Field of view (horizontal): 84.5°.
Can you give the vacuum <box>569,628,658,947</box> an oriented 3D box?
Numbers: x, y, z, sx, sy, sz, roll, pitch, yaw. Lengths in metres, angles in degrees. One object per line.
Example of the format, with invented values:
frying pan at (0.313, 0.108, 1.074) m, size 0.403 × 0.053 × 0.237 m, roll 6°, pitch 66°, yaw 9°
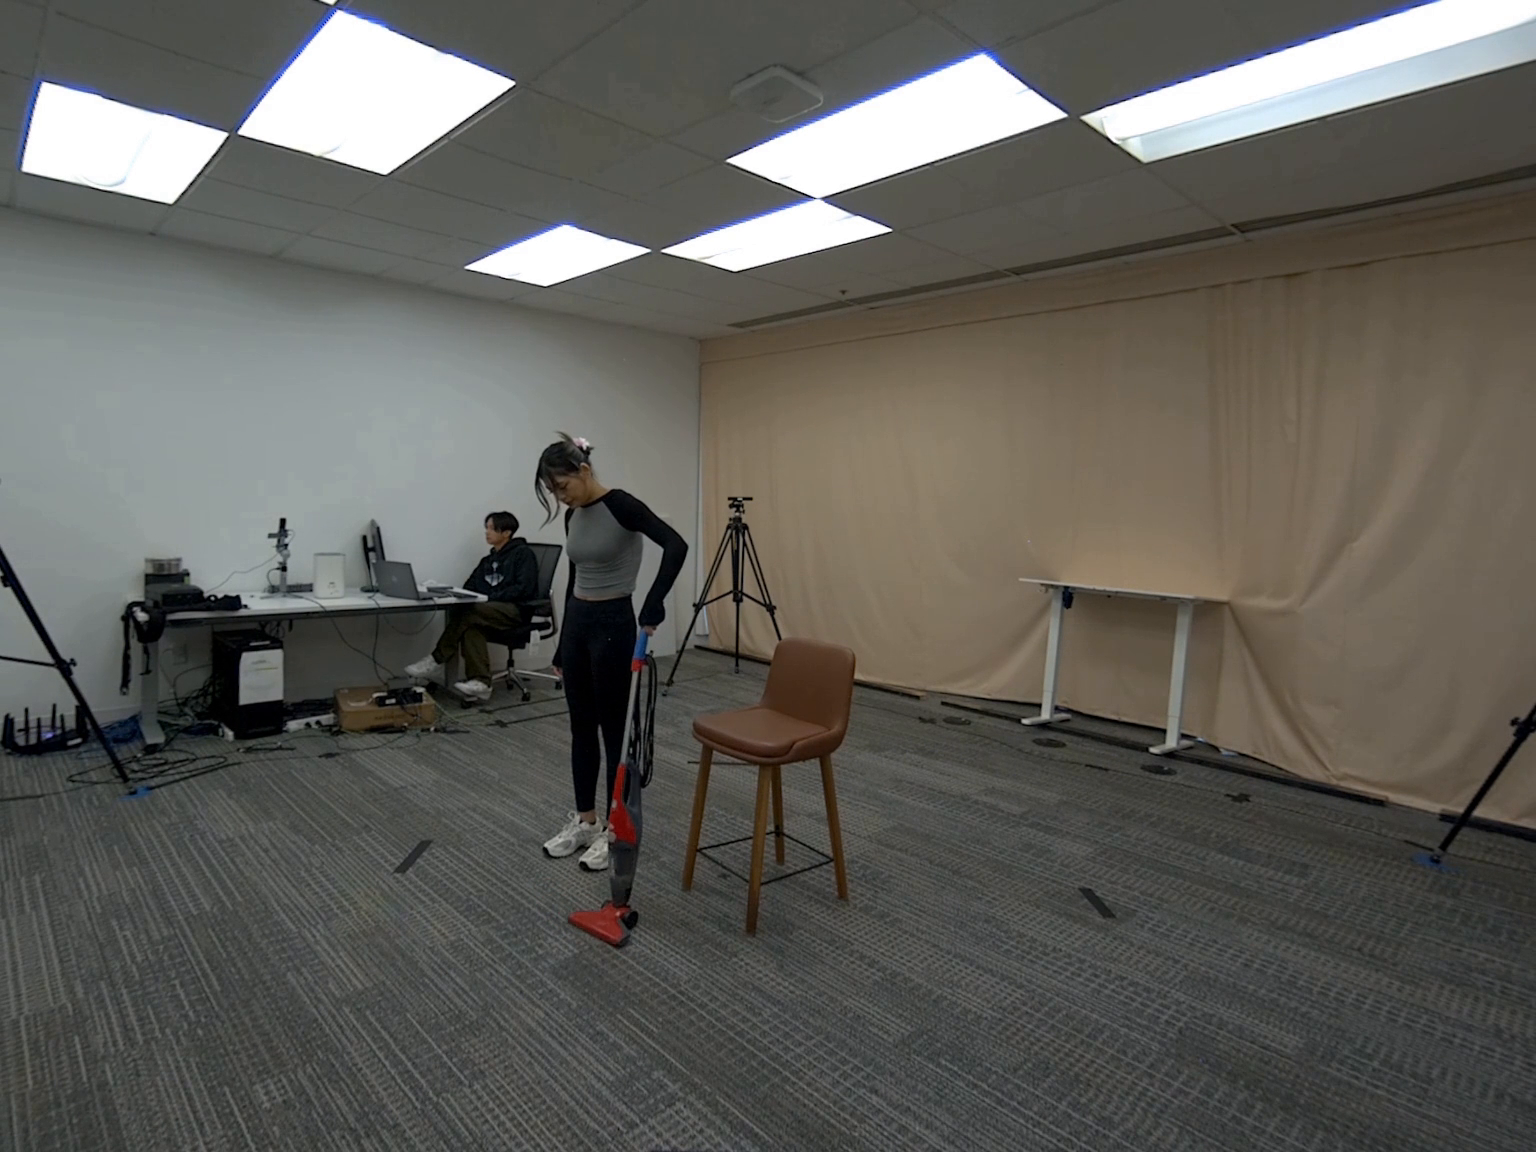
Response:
vacuum at (-0.451, 0.626, 2.790) m, size 0.258 × 1.055 × 0.140 m, roll 0°, pitch -12°, yaw 42°
